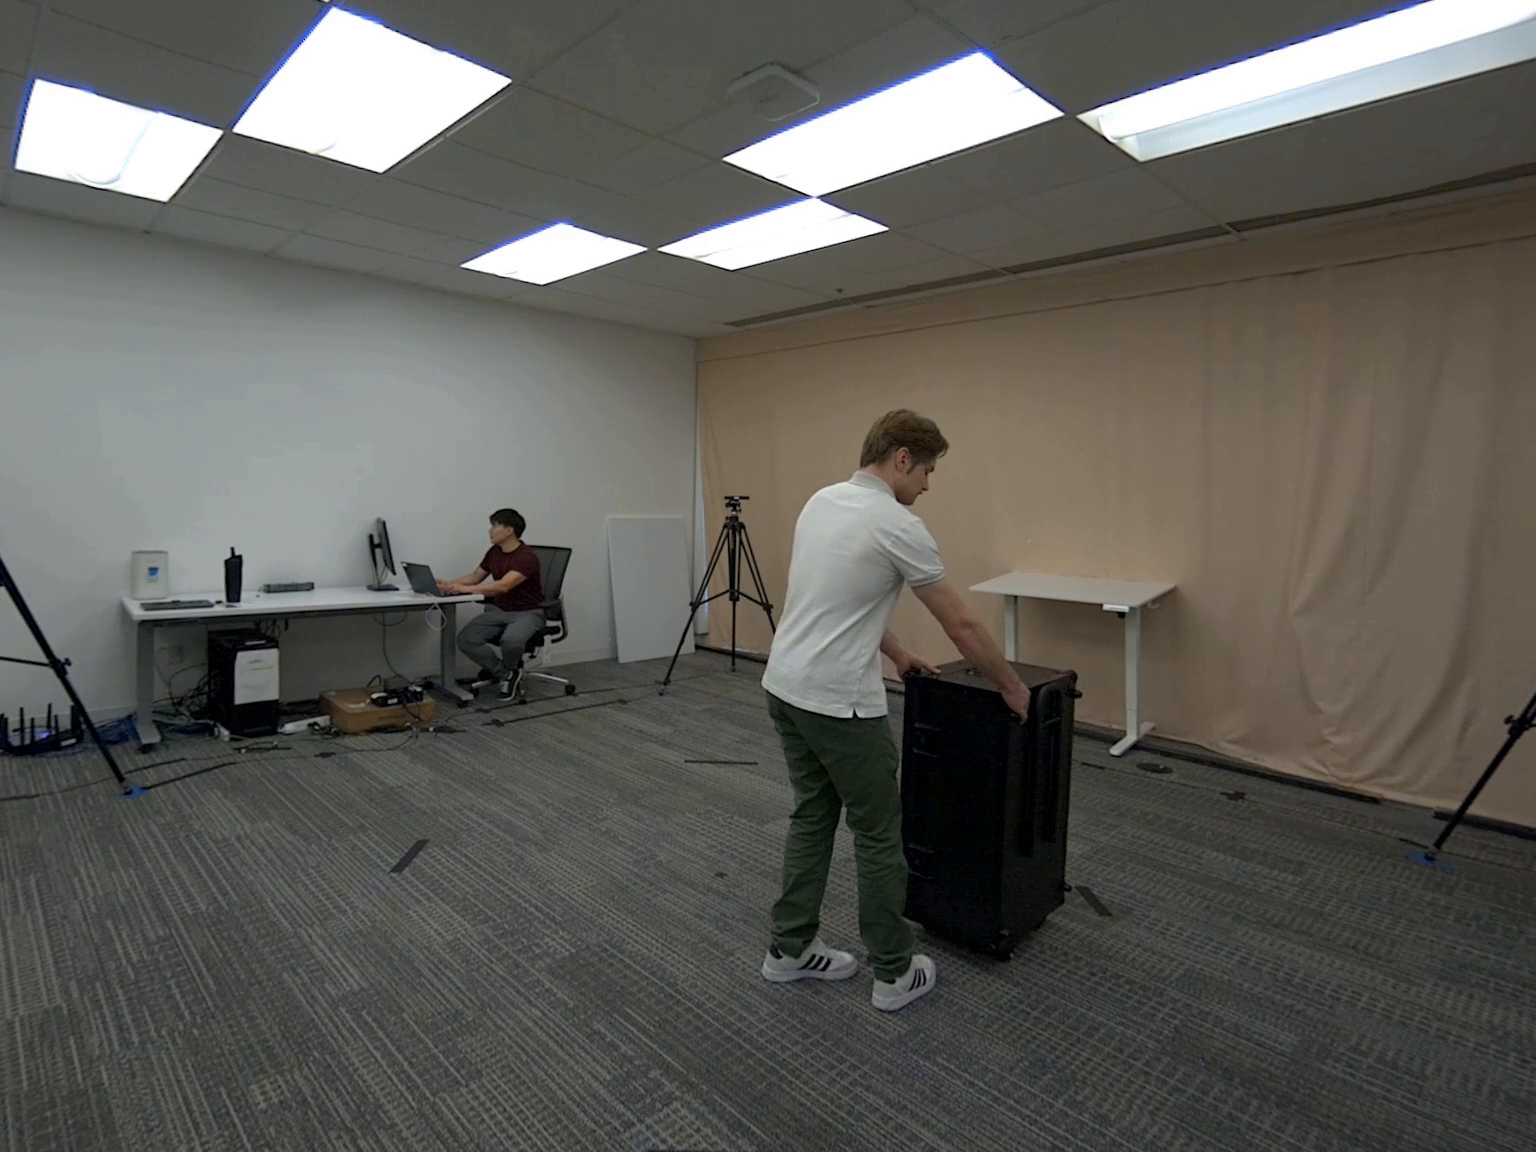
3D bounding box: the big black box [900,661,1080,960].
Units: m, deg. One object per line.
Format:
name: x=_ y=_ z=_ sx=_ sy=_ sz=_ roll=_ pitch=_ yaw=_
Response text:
big black box: x=0.712 y=0.737 z=2.734 sx=0.395 sy=0.866 sz=0.512 roll=5 pitch=6 yaw=41
